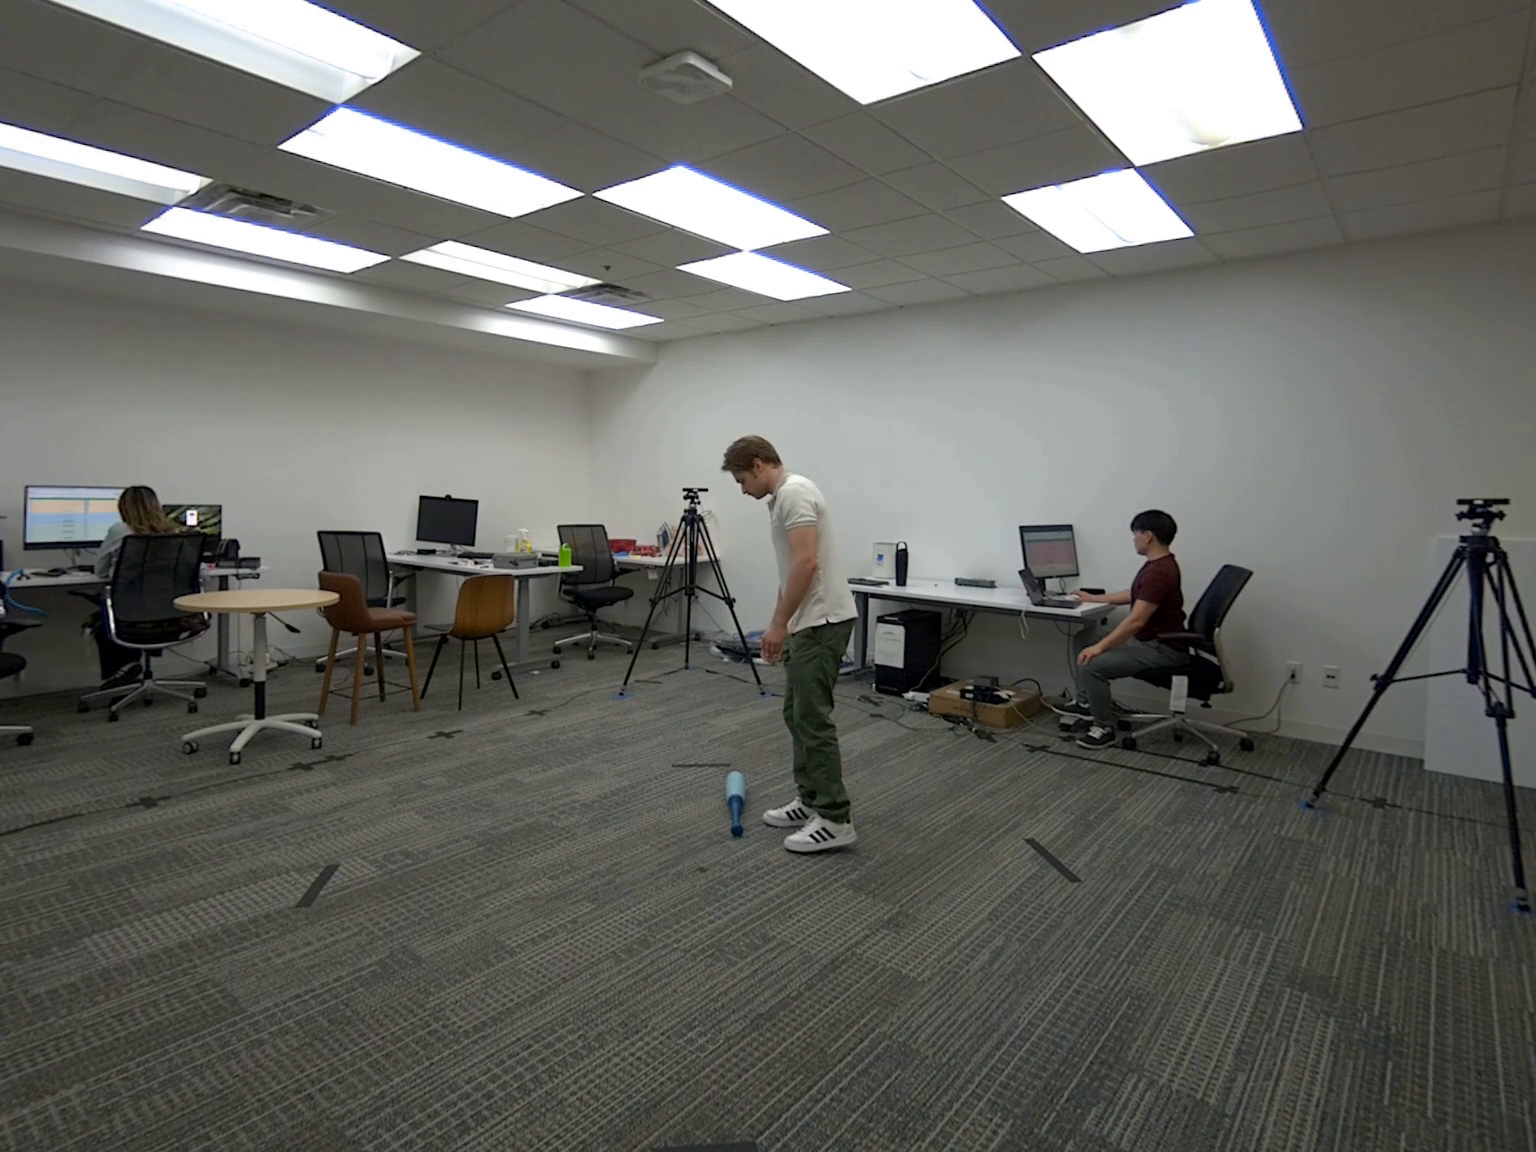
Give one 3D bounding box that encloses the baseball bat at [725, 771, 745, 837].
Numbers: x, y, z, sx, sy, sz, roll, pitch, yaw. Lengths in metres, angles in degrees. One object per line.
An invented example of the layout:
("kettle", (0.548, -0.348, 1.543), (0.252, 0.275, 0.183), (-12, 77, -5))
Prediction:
("baseball bat", (-0.148, 0.980, 3.669), (0.089, 0.088, 0.547), (1, 9, -2))
